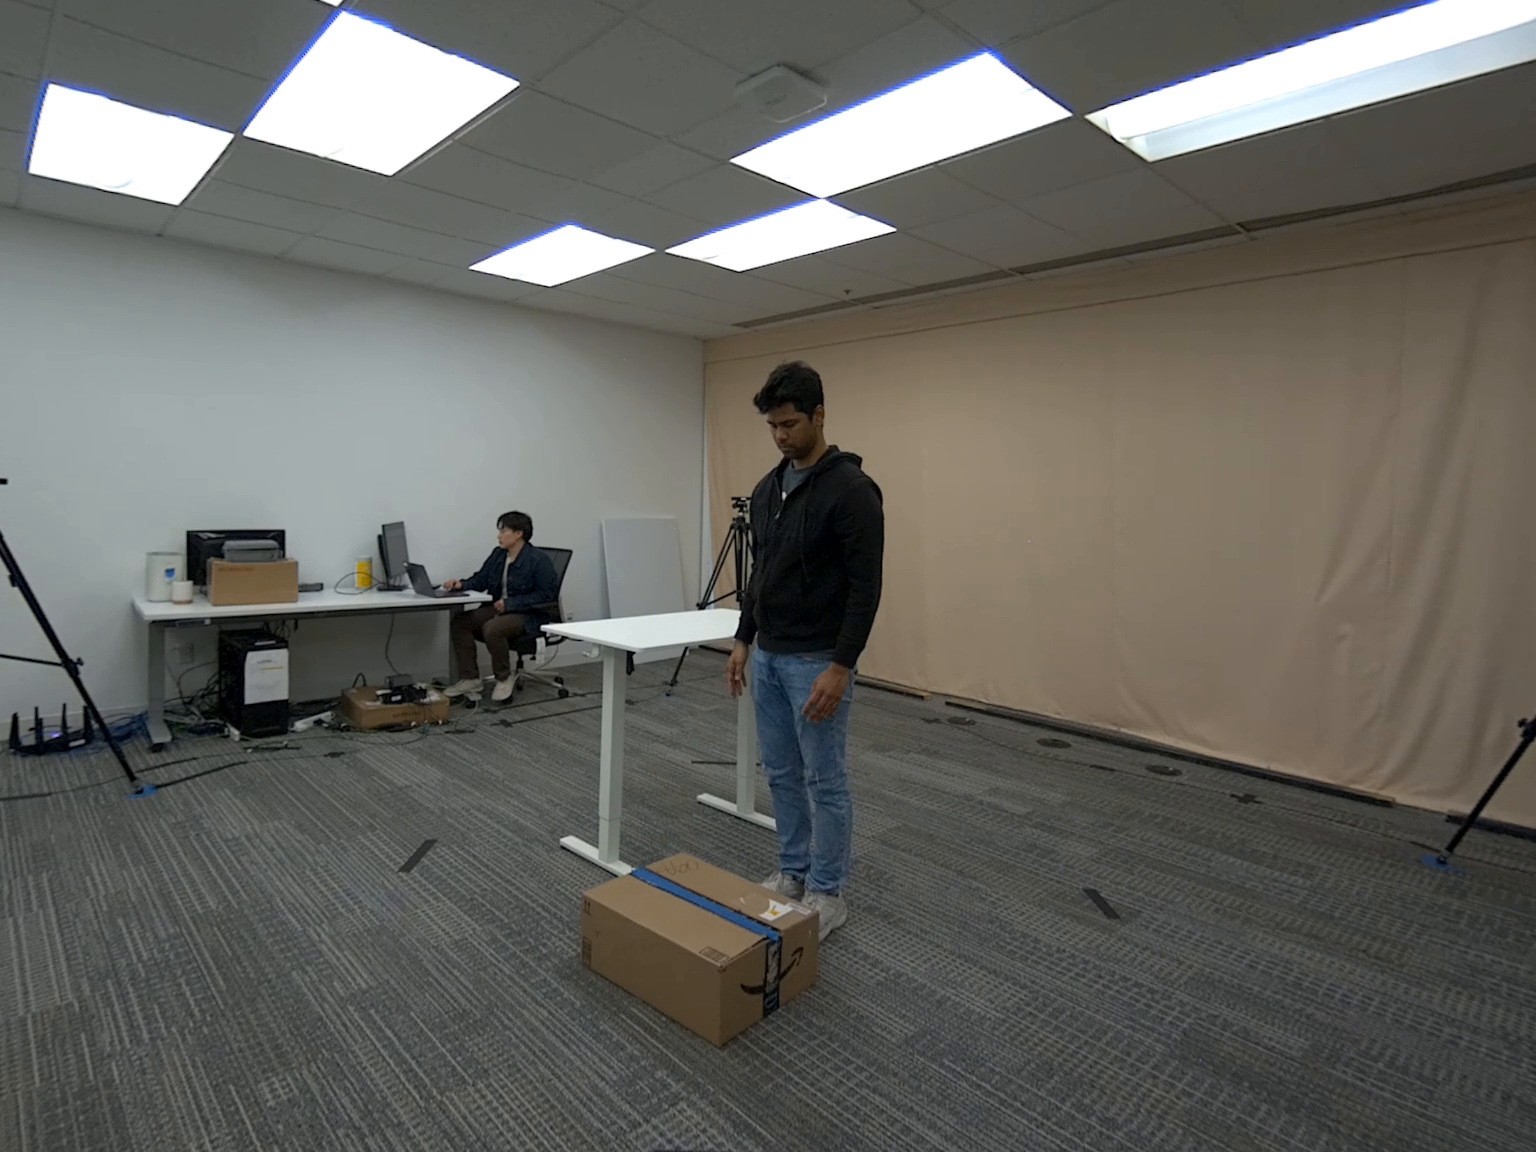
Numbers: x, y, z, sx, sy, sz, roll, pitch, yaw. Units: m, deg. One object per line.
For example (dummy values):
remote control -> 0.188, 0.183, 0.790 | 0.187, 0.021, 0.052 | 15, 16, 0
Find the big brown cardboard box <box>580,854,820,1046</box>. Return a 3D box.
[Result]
big brown cardboard box -> -0.209, 1.058, 2.449 | 0.604, 0.232, 0.408 | 5, 6, 40
